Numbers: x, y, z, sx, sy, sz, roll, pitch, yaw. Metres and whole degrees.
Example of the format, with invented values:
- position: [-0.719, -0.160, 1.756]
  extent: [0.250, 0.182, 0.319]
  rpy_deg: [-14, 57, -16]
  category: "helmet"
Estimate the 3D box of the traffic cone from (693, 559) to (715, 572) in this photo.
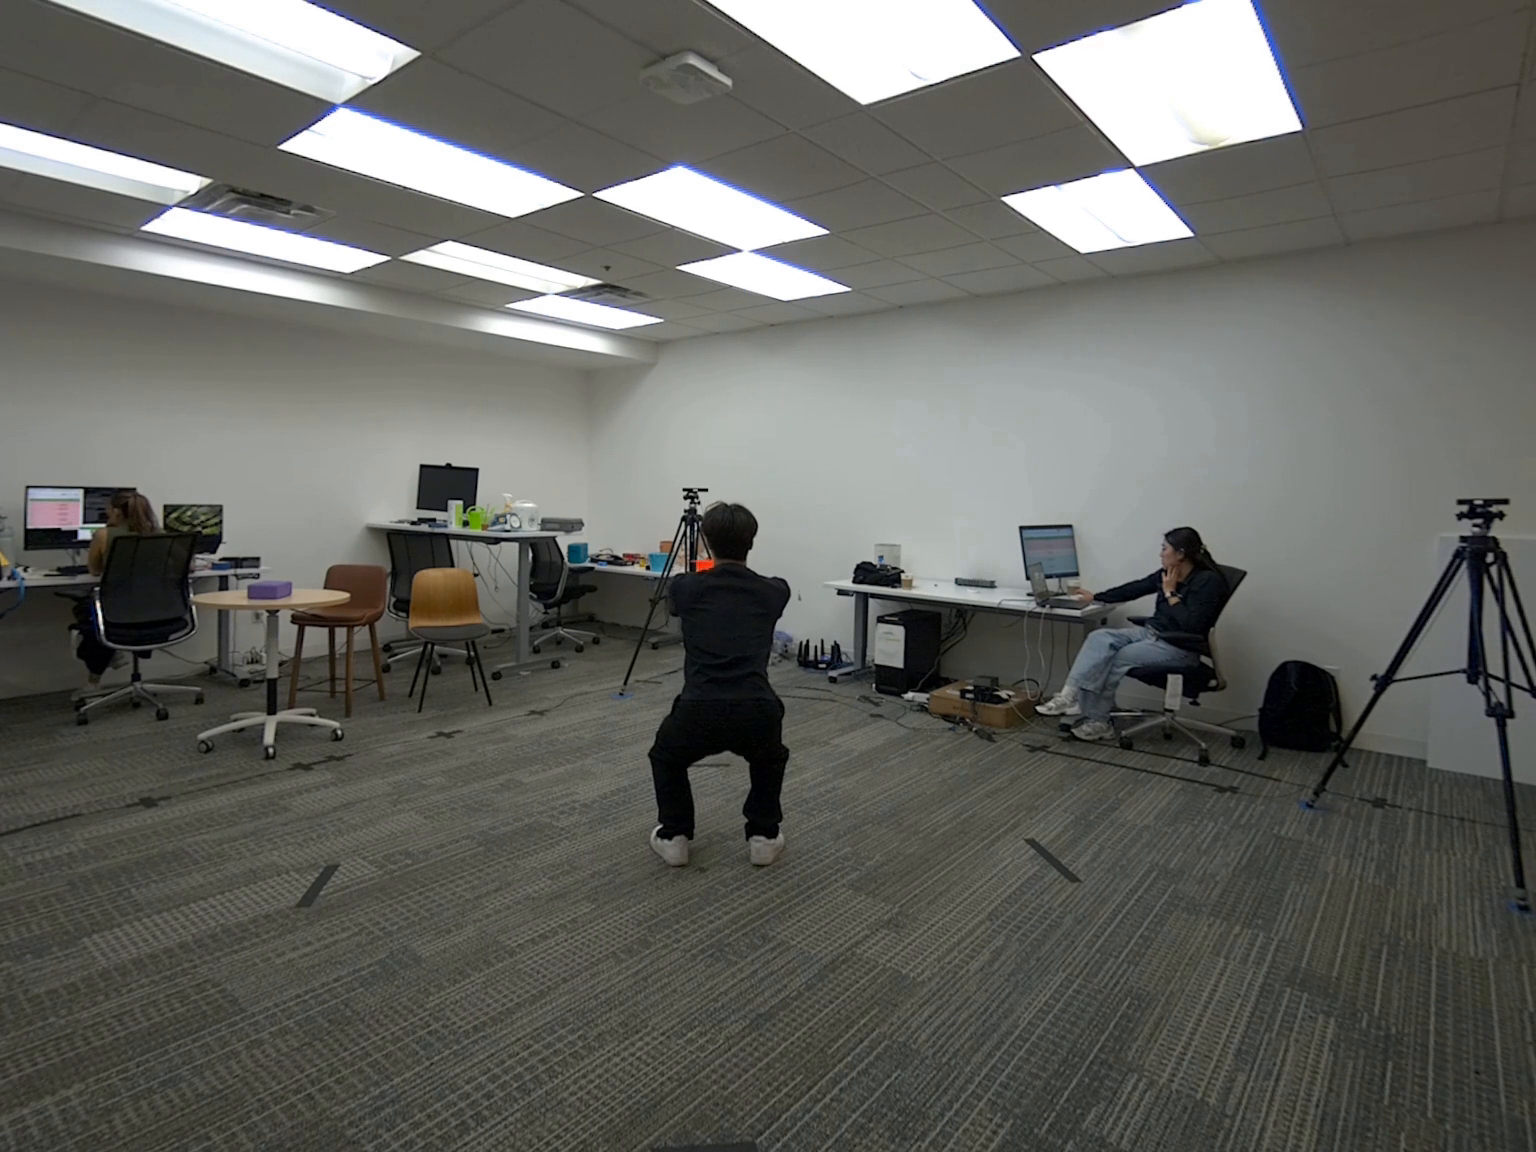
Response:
- position: [-0.249, 0.123, 3.807]
  extent: [0.203, 0.385, 0.205]
  rpy_deg: [-1, -3, -9]
  category: "traffic cone"
